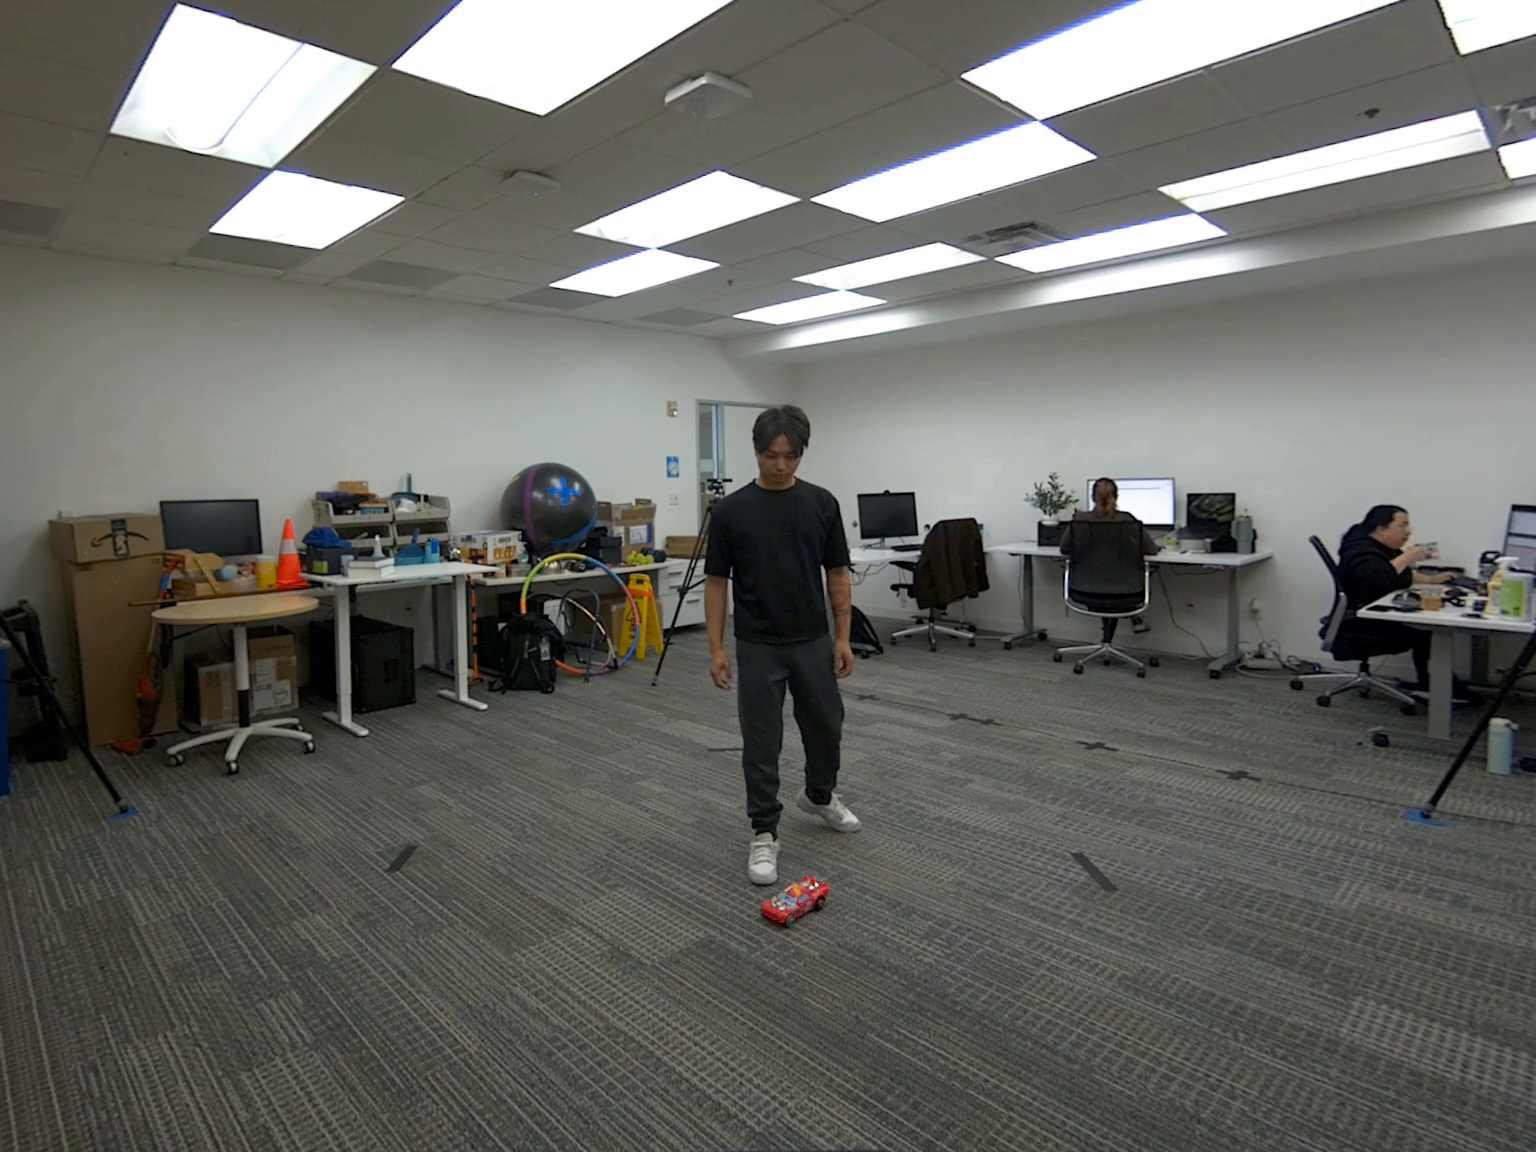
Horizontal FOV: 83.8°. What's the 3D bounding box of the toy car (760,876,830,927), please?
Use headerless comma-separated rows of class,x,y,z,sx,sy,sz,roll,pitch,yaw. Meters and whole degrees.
toy car,0.105,1.050,2.758,0.134,0.082,0.250,4,20,45
